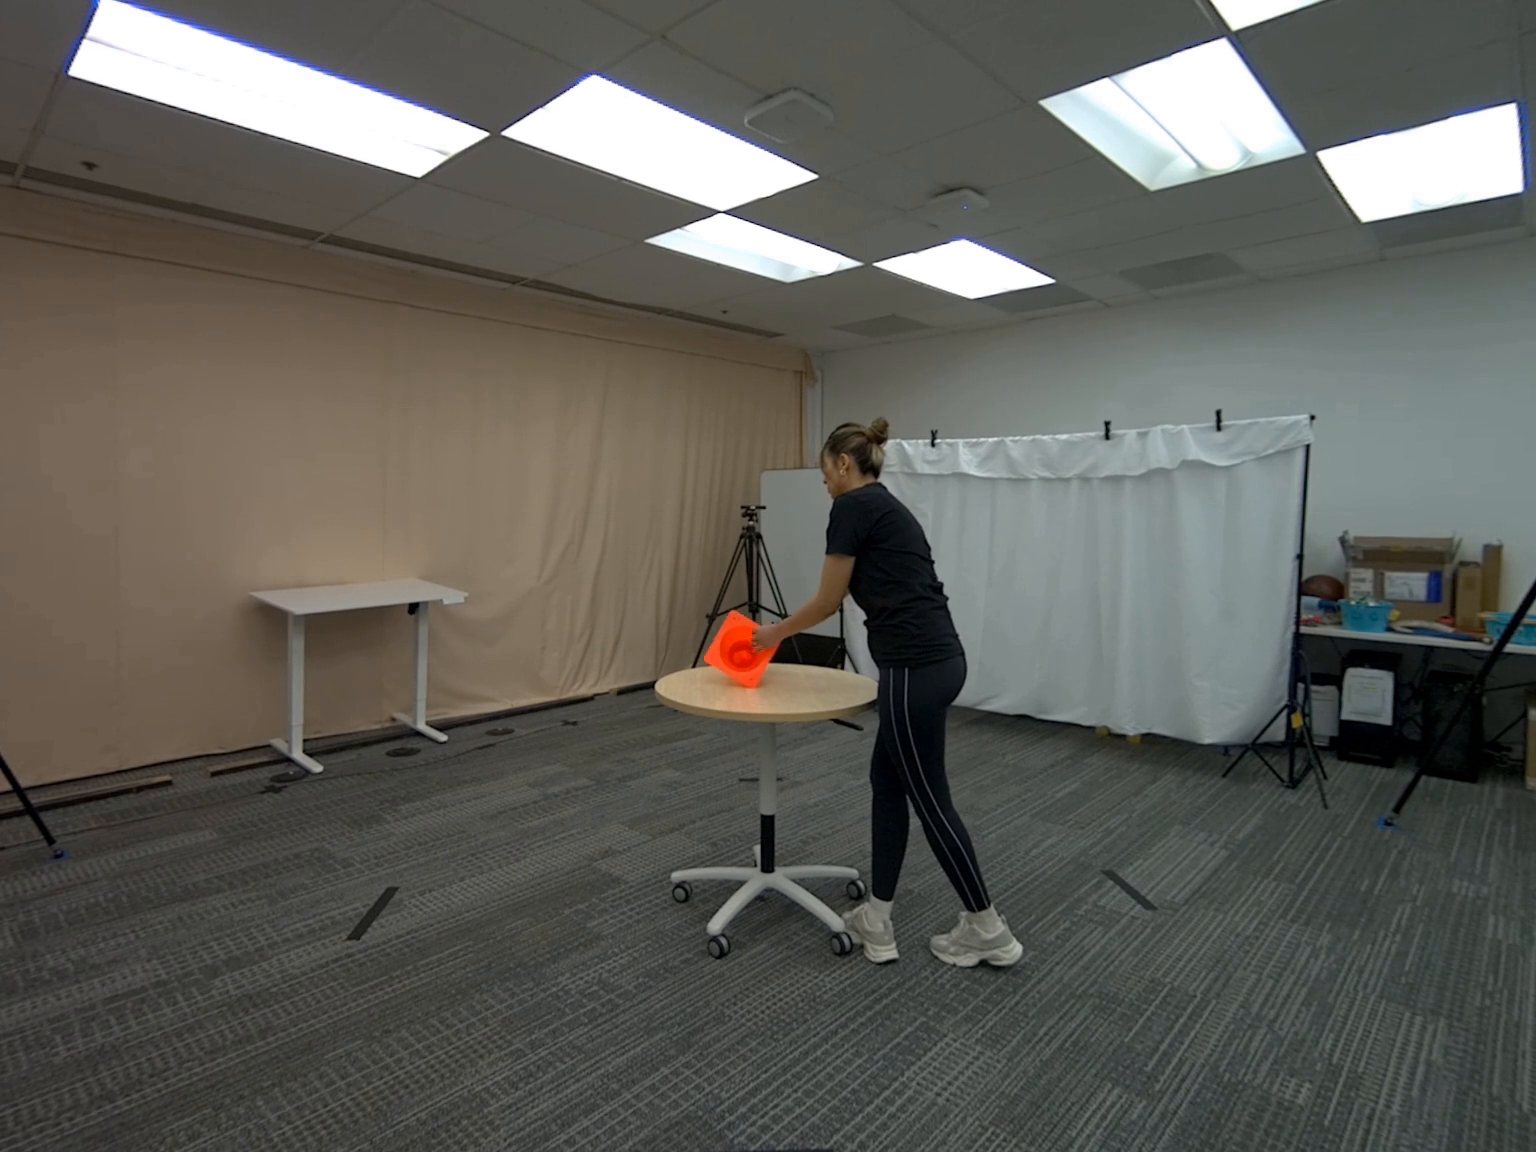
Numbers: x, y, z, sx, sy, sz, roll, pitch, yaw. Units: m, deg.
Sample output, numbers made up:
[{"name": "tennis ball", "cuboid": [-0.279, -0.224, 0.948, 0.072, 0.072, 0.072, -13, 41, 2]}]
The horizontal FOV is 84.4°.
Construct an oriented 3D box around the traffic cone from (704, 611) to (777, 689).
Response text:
[{"name": "traffic cone", "cuboid": [-0.078, 0.288, 3.011, 0.207, 0.203, 0.380, 26, -11, 5]}]
